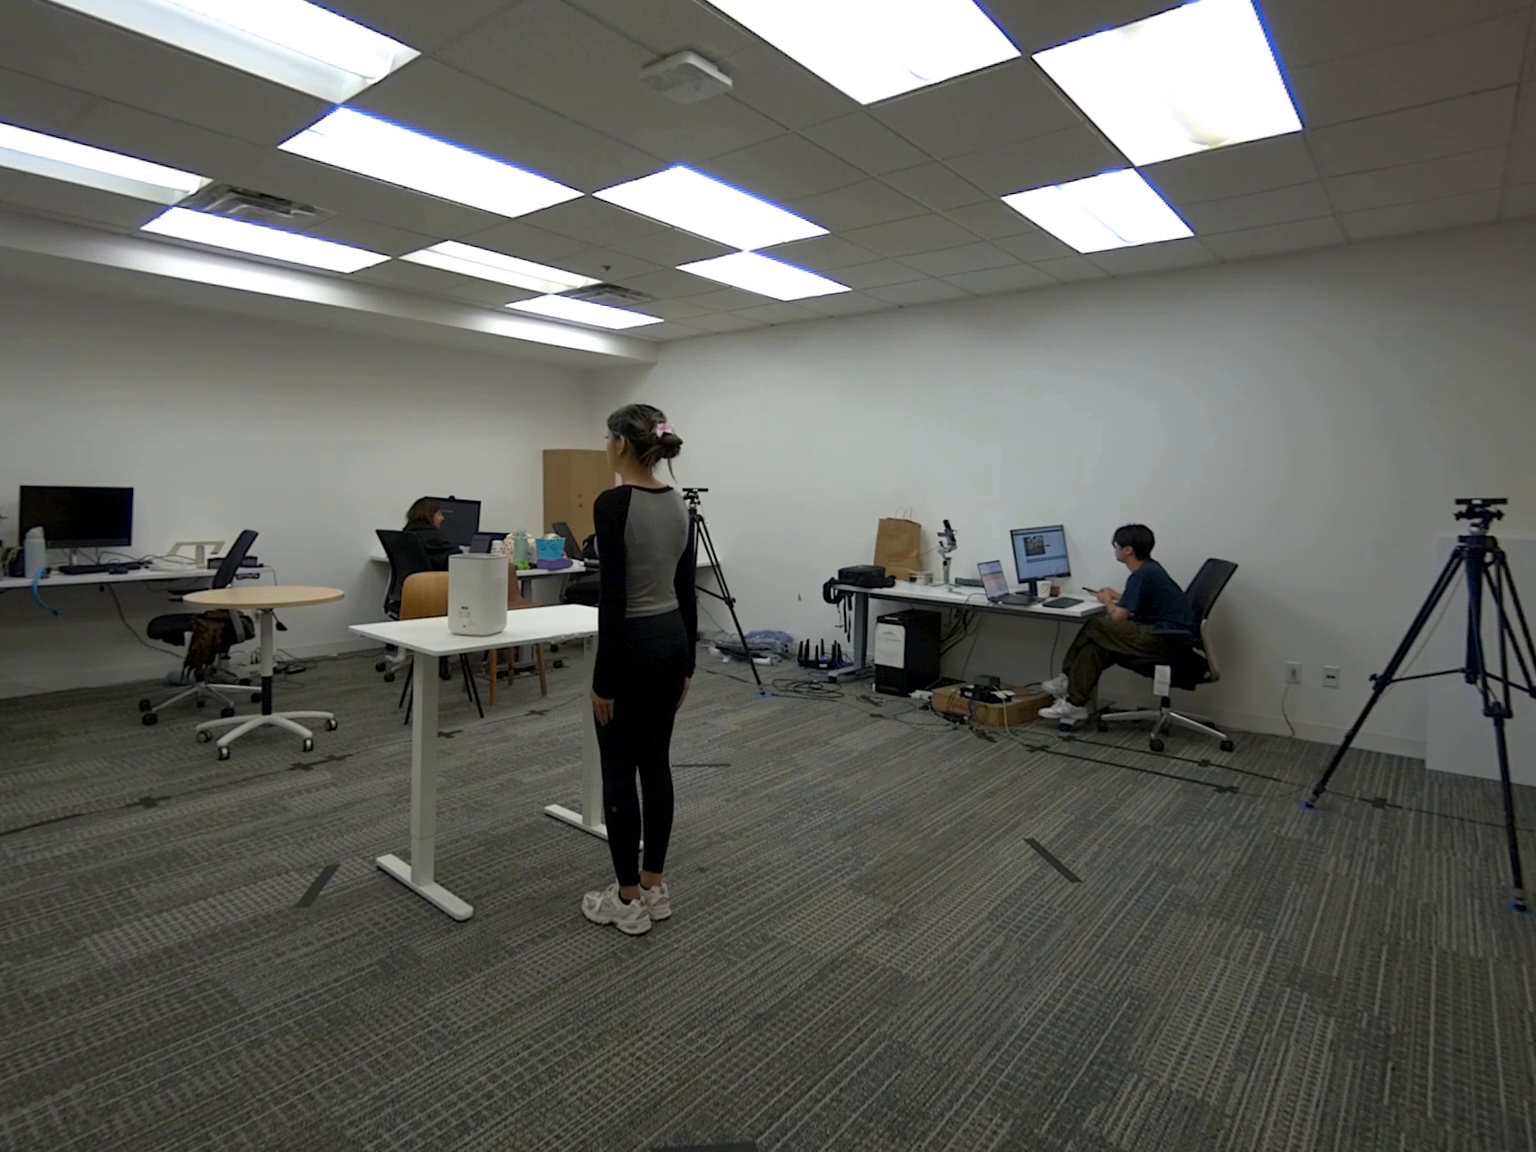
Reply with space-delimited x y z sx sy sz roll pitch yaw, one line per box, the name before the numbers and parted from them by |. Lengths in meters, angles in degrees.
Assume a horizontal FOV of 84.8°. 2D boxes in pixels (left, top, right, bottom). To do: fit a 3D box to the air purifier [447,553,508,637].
air purifier | -1.000 0.060 2.910 0.173 0.265 0.170 2 2 9
